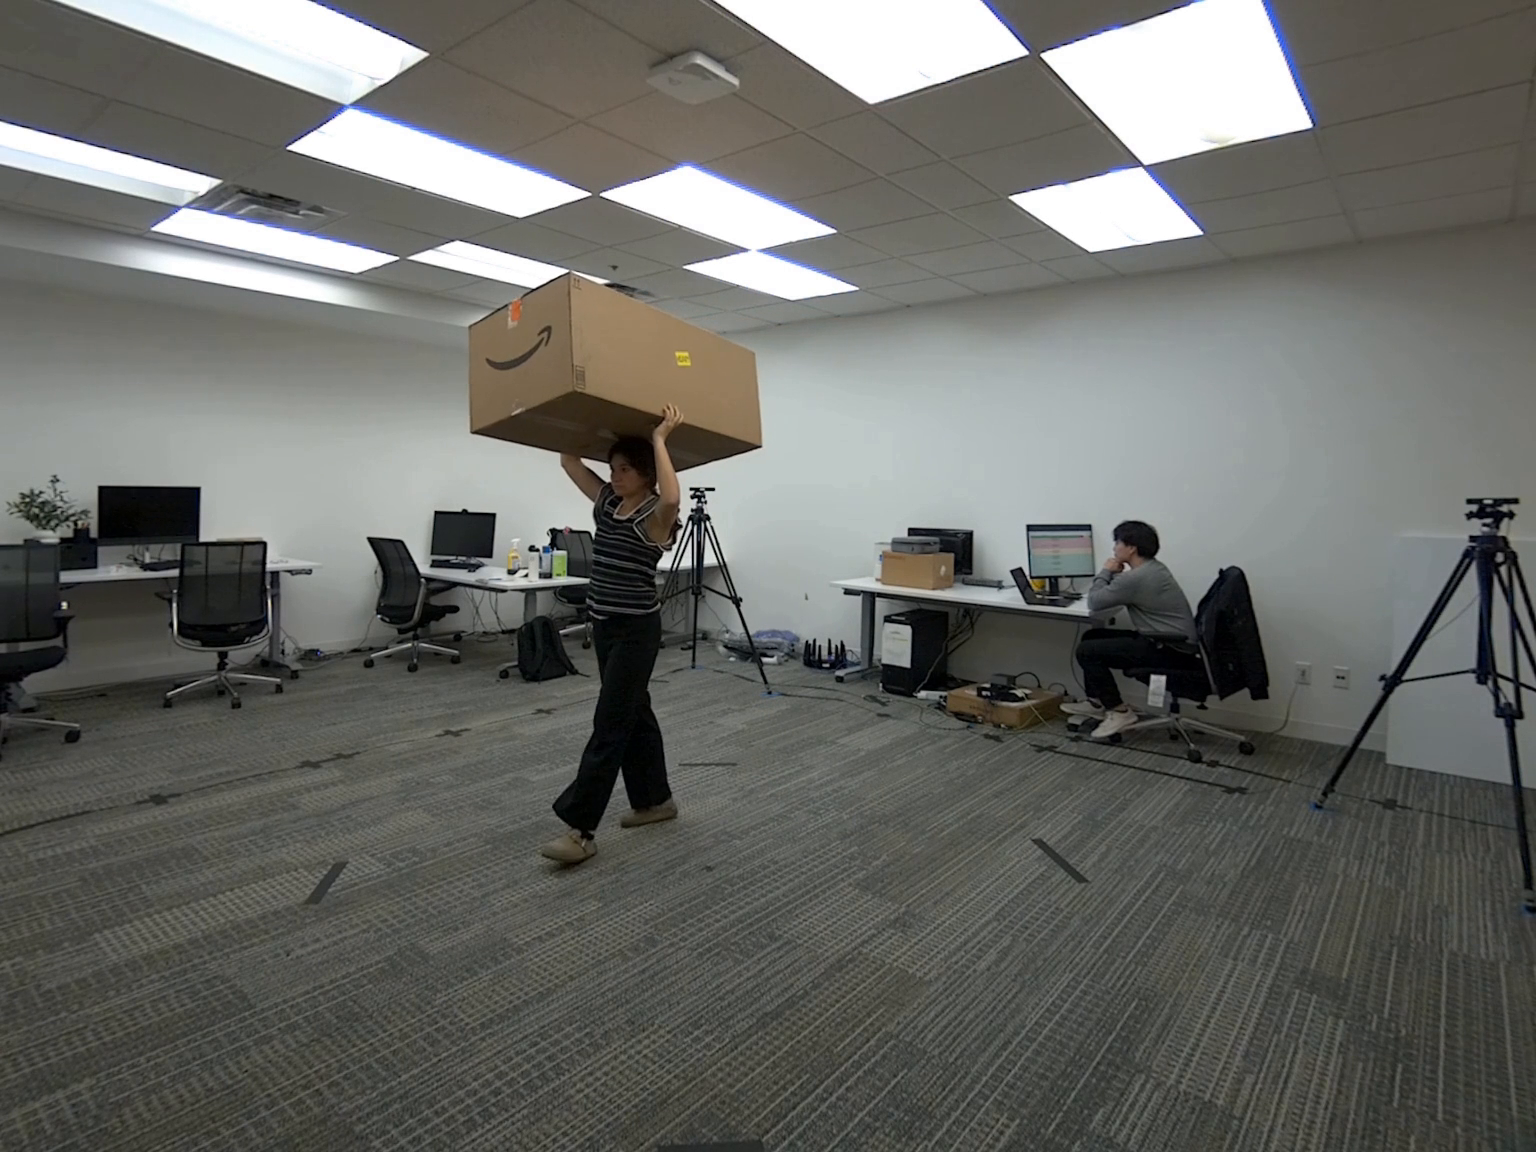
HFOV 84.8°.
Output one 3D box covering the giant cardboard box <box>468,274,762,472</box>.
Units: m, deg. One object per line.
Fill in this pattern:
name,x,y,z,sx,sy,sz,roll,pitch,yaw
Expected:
giant cardboard box,-0.584,-0.734,3.338,0.592,0.431,0.990,-11,-11,38
